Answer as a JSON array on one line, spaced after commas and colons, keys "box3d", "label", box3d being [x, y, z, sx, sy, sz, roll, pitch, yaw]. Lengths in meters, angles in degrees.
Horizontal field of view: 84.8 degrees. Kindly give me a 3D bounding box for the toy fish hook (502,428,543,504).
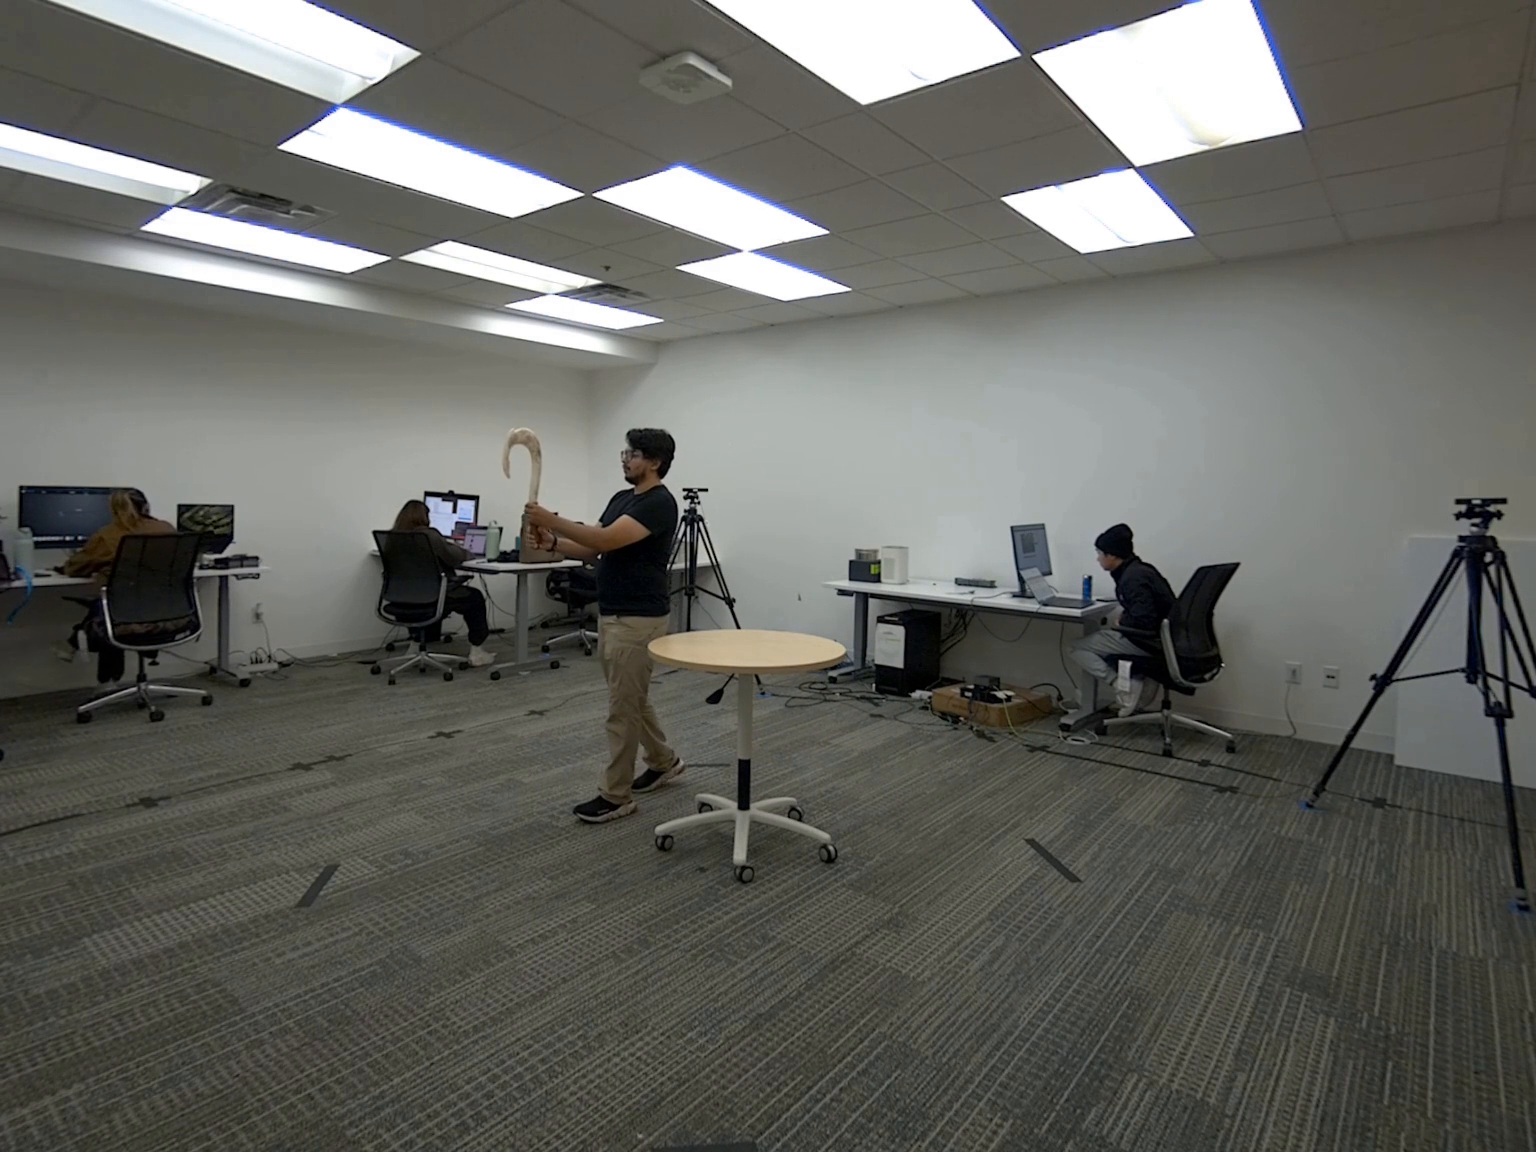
[{"box3d": [-1.018, -0.358, 3.497, 0.050, 0.502, 0.220, 1, 10, 31], "label": "toy fish hook"}]
